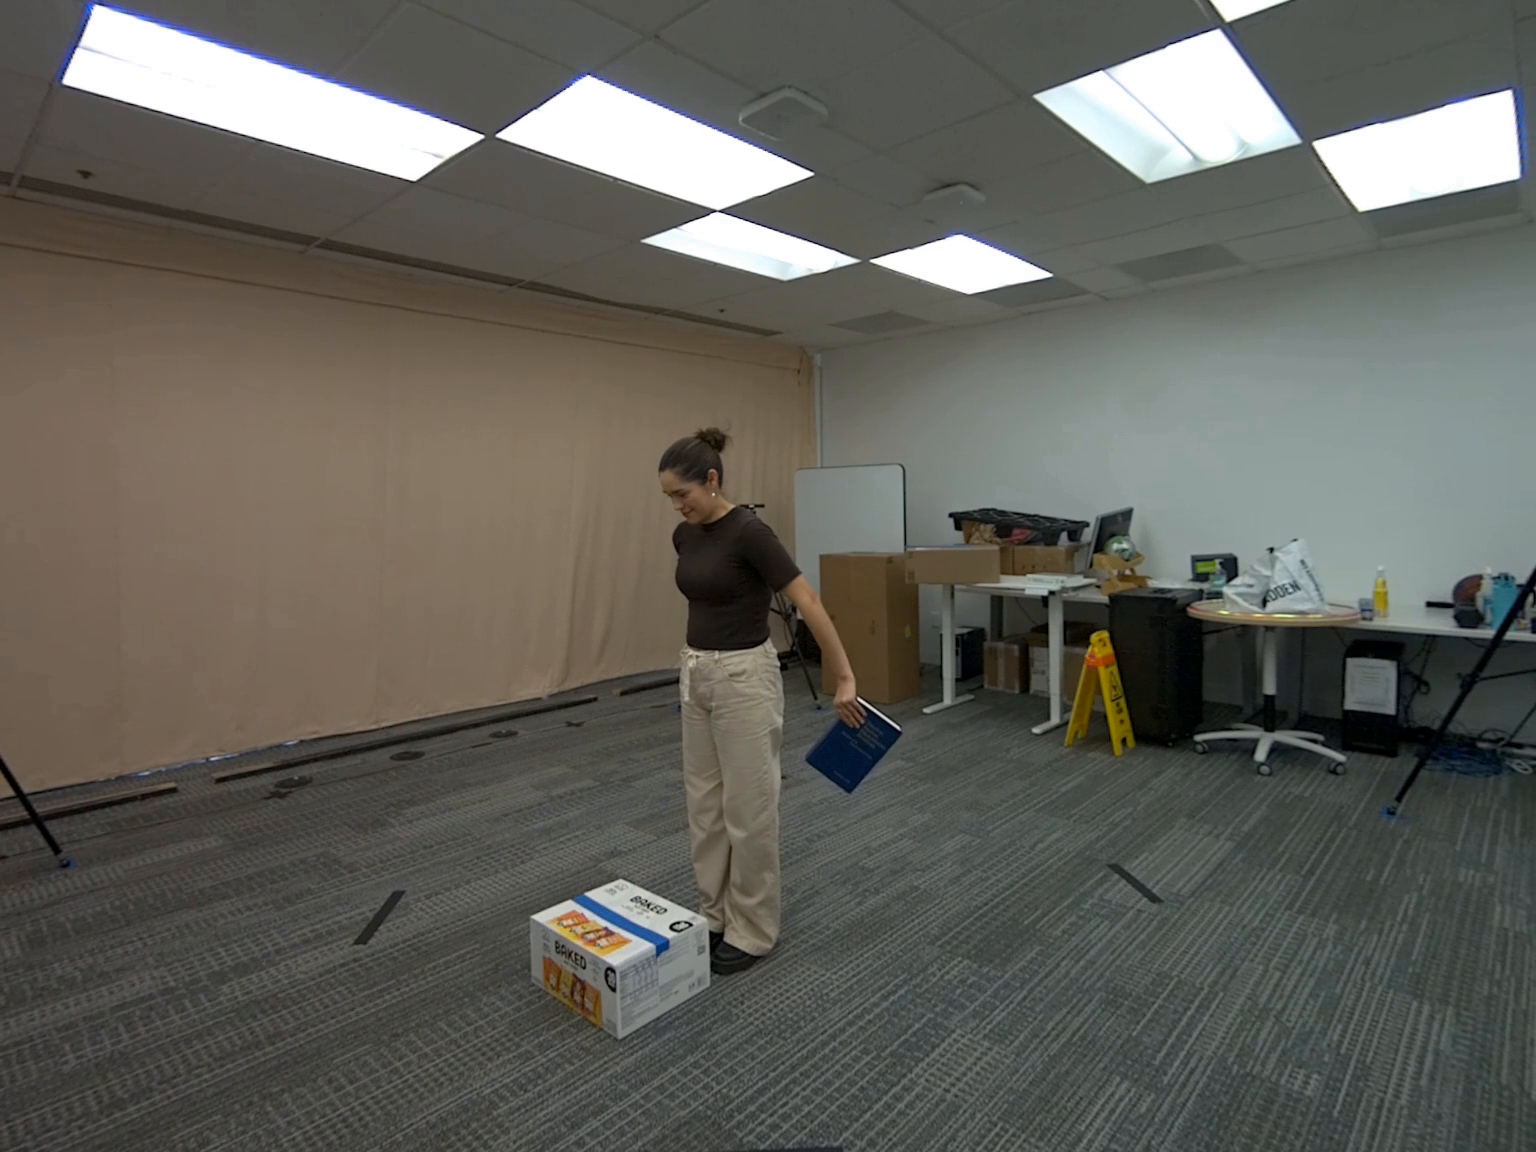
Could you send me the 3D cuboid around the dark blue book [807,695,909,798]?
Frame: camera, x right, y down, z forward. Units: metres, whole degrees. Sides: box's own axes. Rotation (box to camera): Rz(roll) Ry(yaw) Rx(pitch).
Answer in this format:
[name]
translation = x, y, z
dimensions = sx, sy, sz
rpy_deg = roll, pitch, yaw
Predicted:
[dark blue book]
translation = 0.252, 0.485, 2.409
dimensions = 0.162, 0.245, 0.045
rpy_deg = 36, 12, -6
